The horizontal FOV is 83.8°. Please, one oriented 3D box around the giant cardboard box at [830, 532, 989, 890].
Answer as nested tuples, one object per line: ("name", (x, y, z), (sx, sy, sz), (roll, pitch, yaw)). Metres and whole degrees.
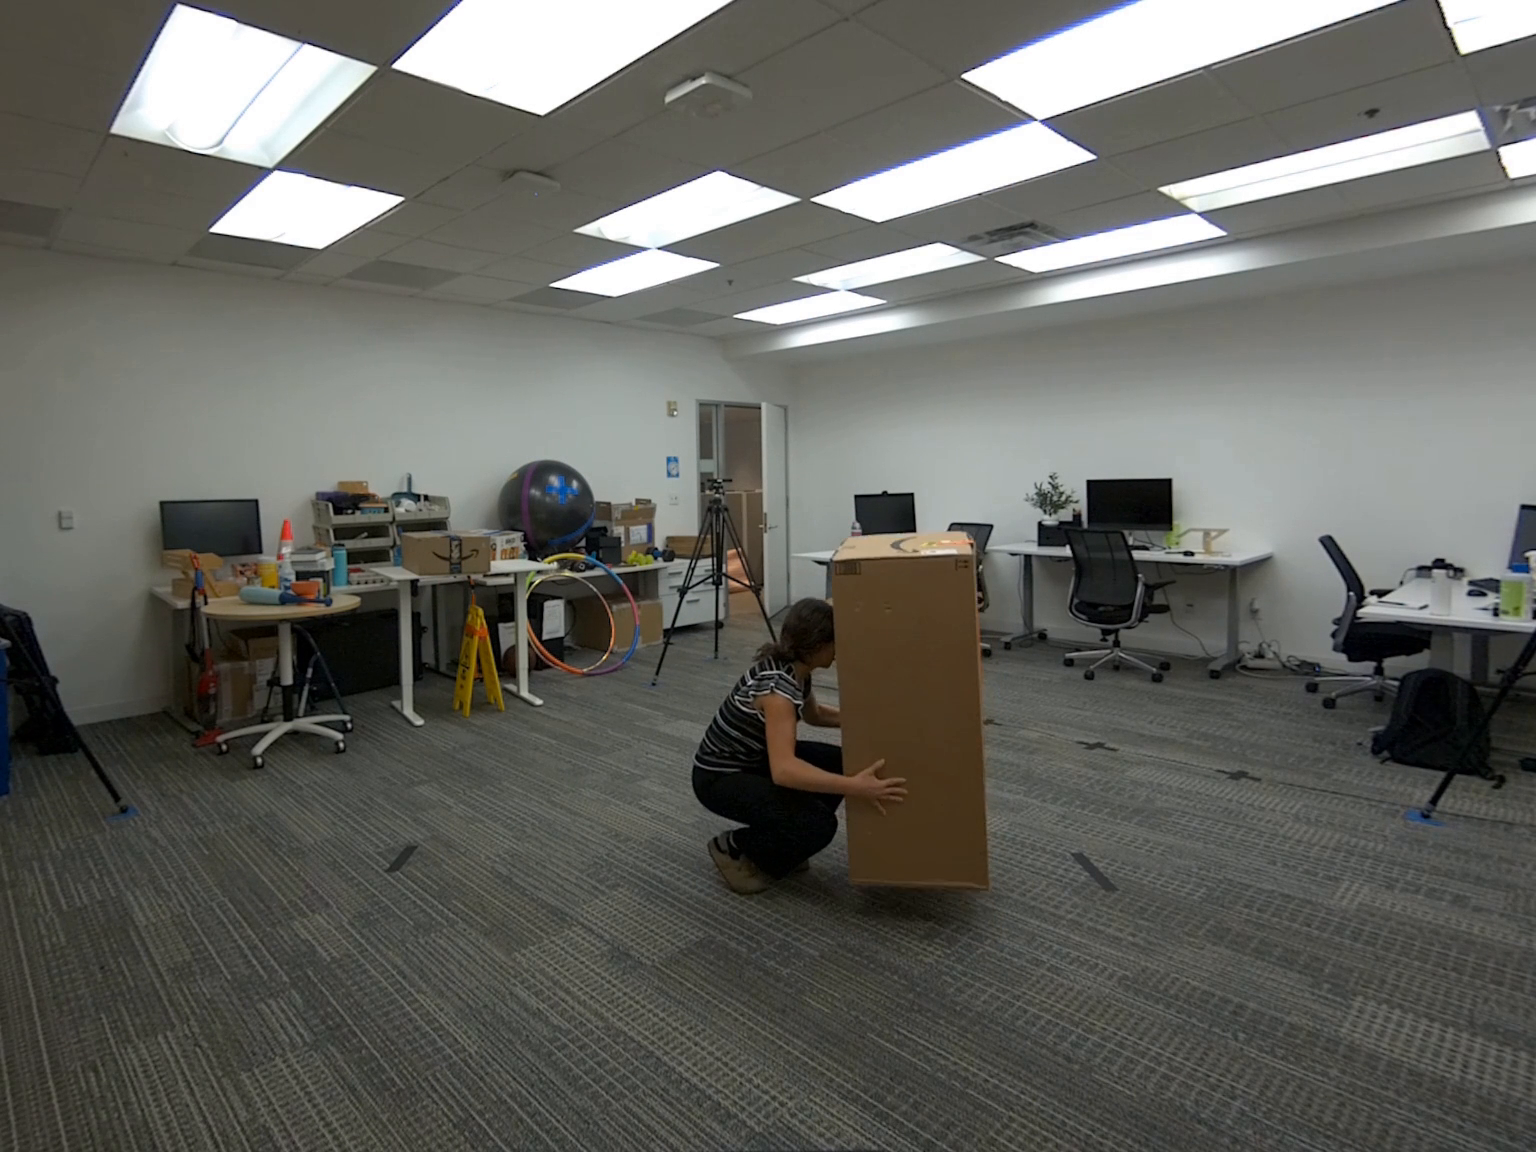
("giant cardboard box", (0.482, 0.392, 2.828), (0.431, 1.020, 0.574), (-3, 6, 13))
